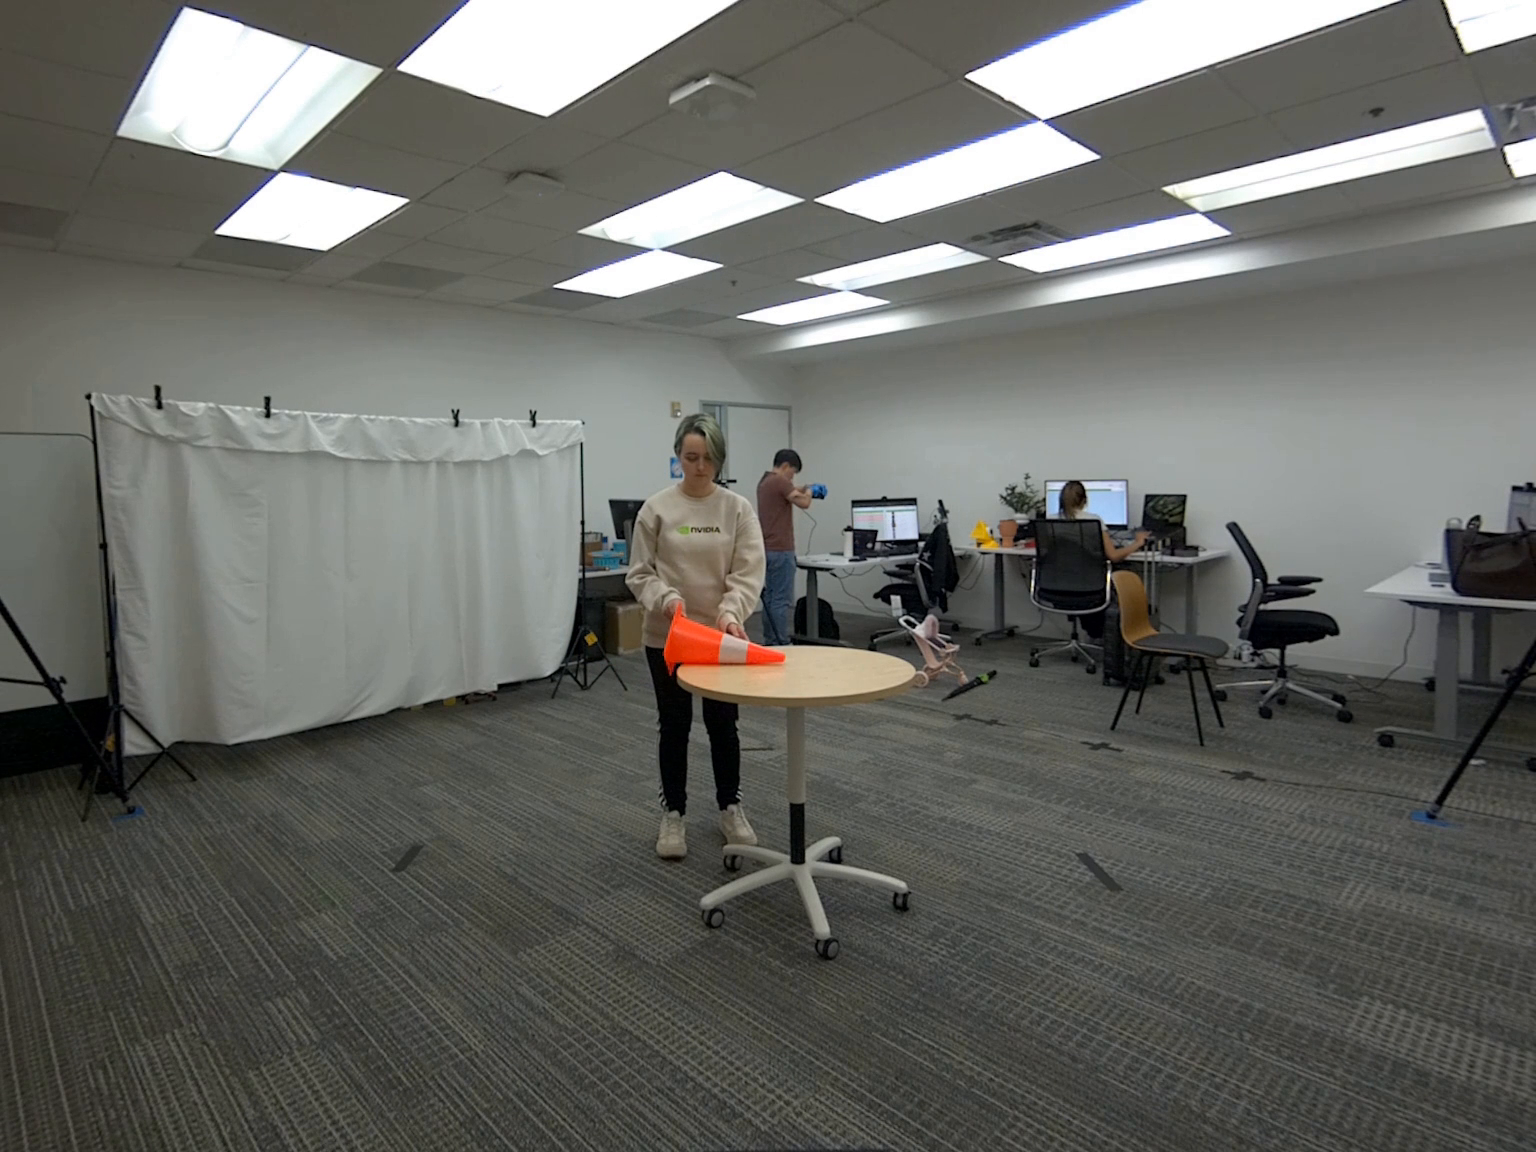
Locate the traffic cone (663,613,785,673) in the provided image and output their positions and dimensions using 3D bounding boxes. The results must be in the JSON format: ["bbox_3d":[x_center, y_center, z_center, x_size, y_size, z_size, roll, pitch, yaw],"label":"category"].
[{"bbox_3d":[-0.142,0.251,2.853,0.389,0.206,0.199,10,-34,12],"label":"traffic cone"}]
